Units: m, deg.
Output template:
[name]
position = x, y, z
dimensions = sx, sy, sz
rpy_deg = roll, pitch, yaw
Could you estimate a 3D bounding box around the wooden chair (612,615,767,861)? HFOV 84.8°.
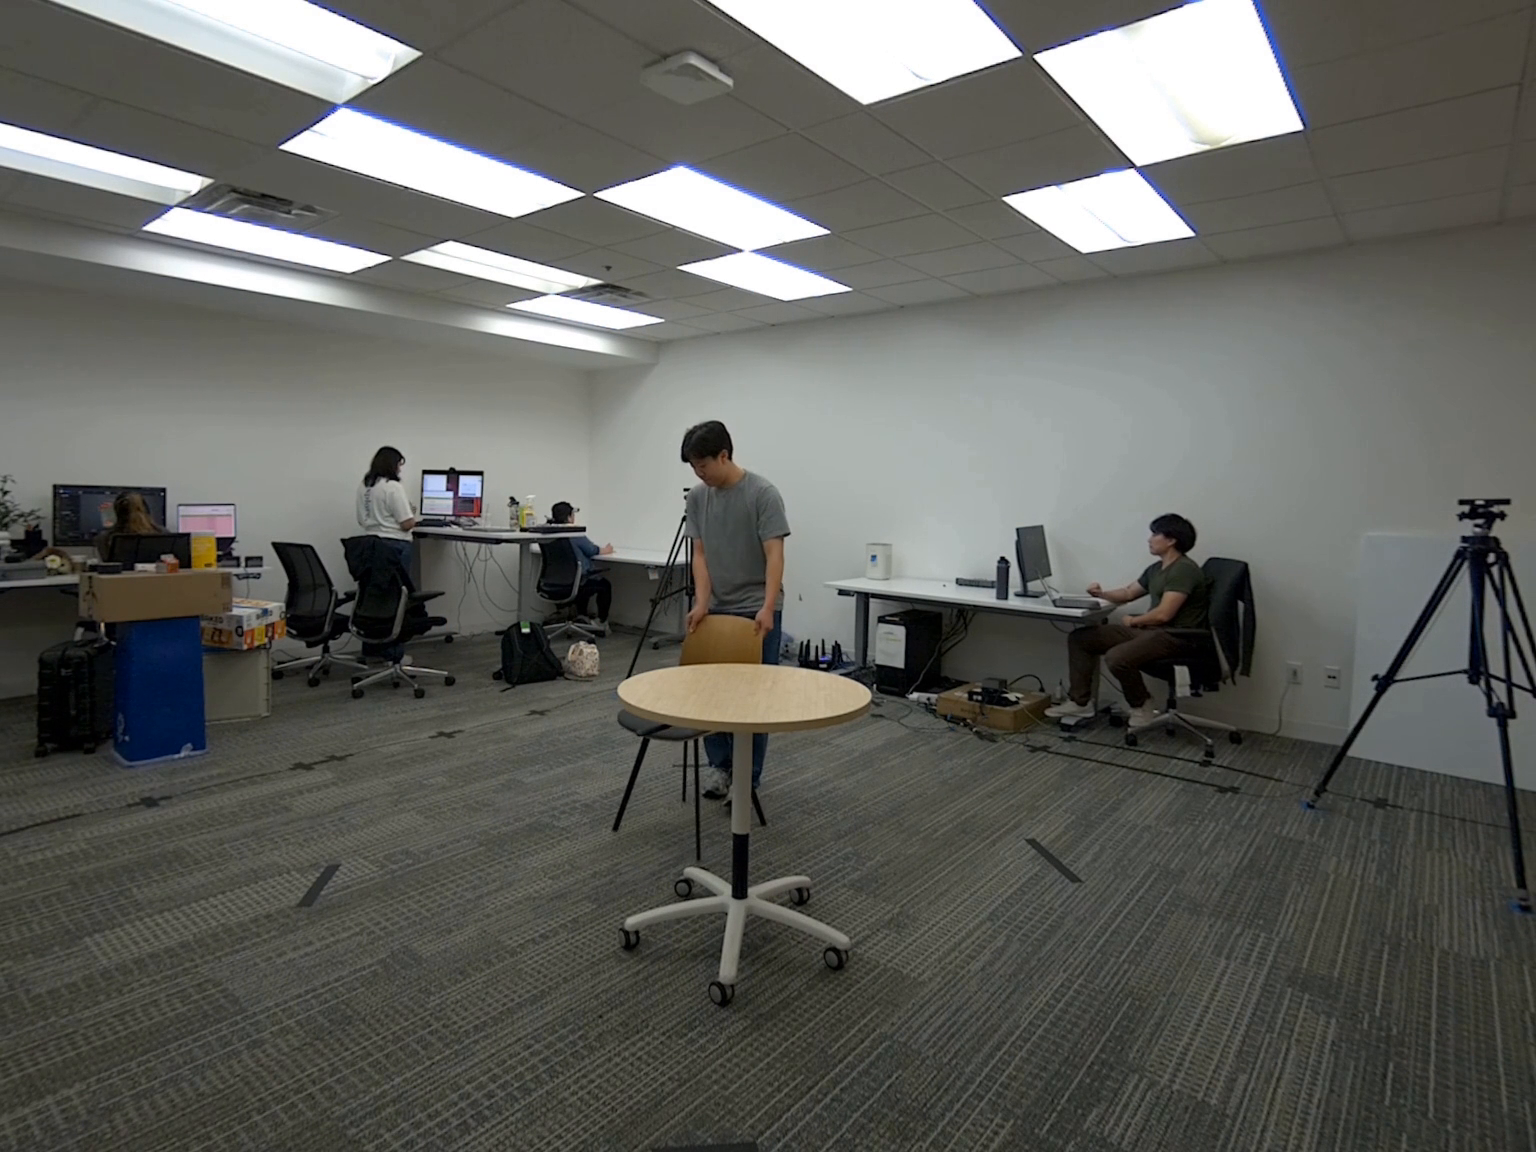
[wooden chair]
position = -0.324, 0.602, 3.450
dimensions = 0.494, 0.878, 0.506
rpy_deg = 4, 0, 36
